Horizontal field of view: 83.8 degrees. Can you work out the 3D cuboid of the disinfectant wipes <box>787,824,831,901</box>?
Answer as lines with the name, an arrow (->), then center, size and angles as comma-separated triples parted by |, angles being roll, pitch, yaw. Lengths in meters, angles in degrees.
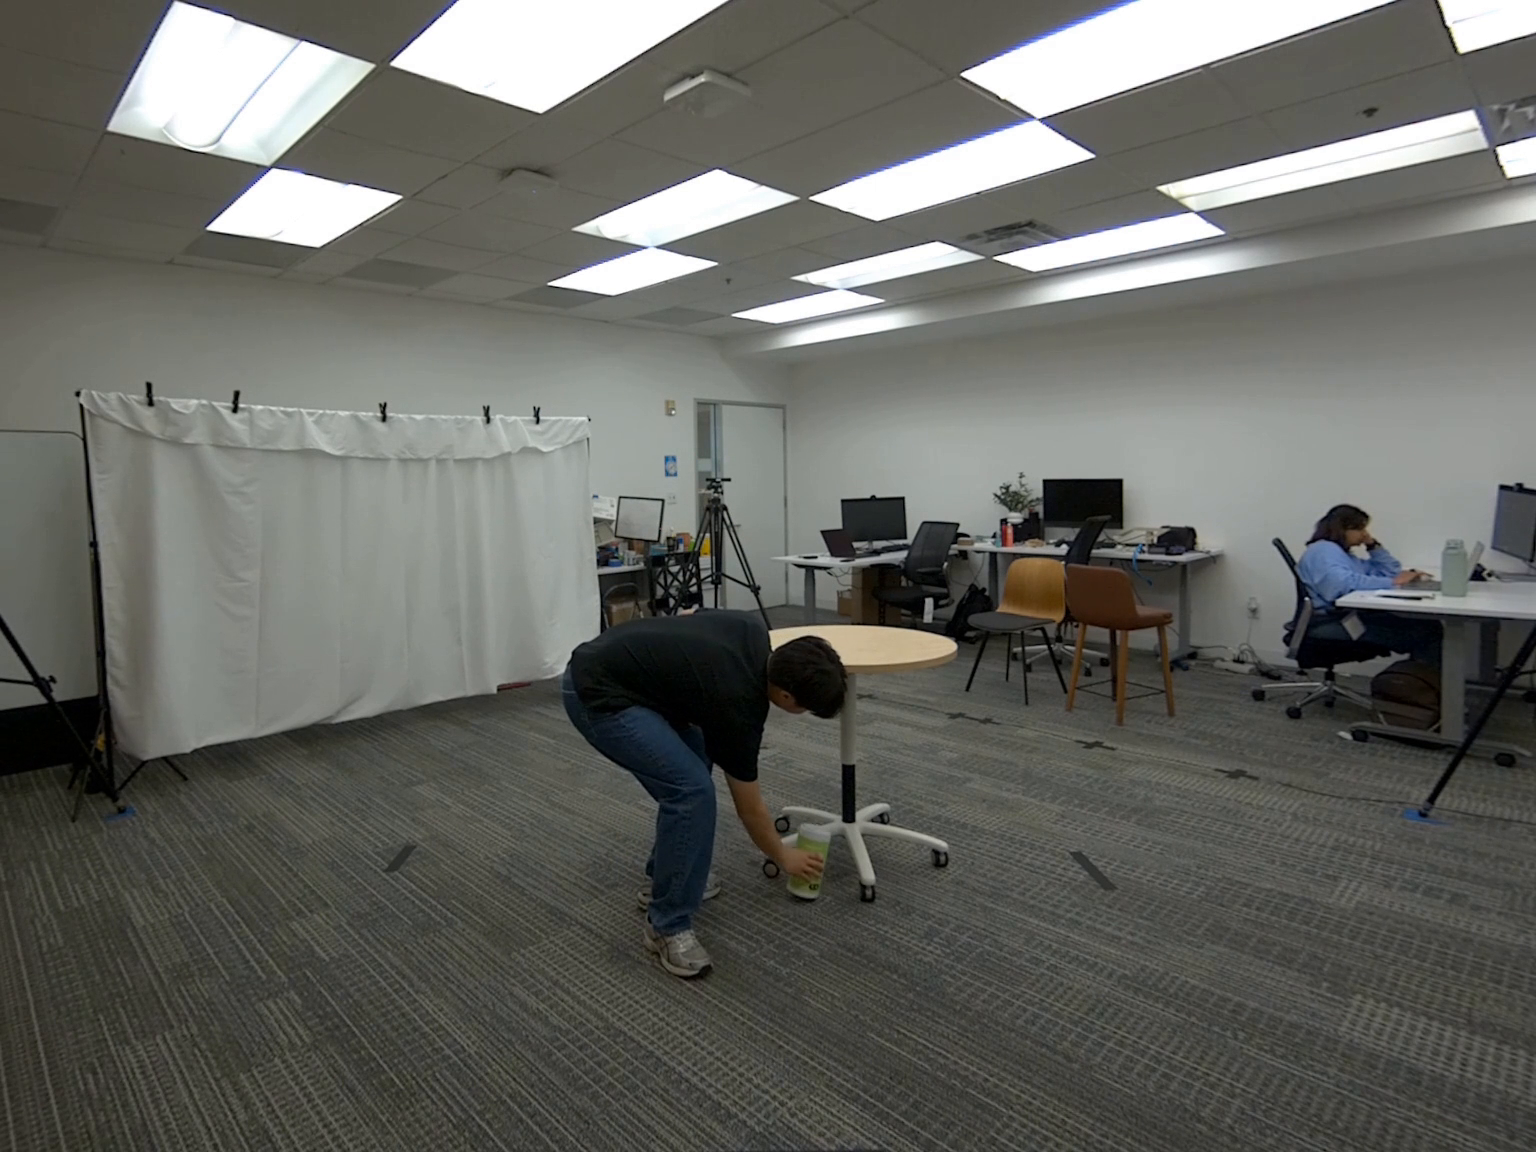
disinfectant wipes -> 0.134, 0.944, 2.841 | 0.118, 0.218, 0.117 | 12, -4, -1
